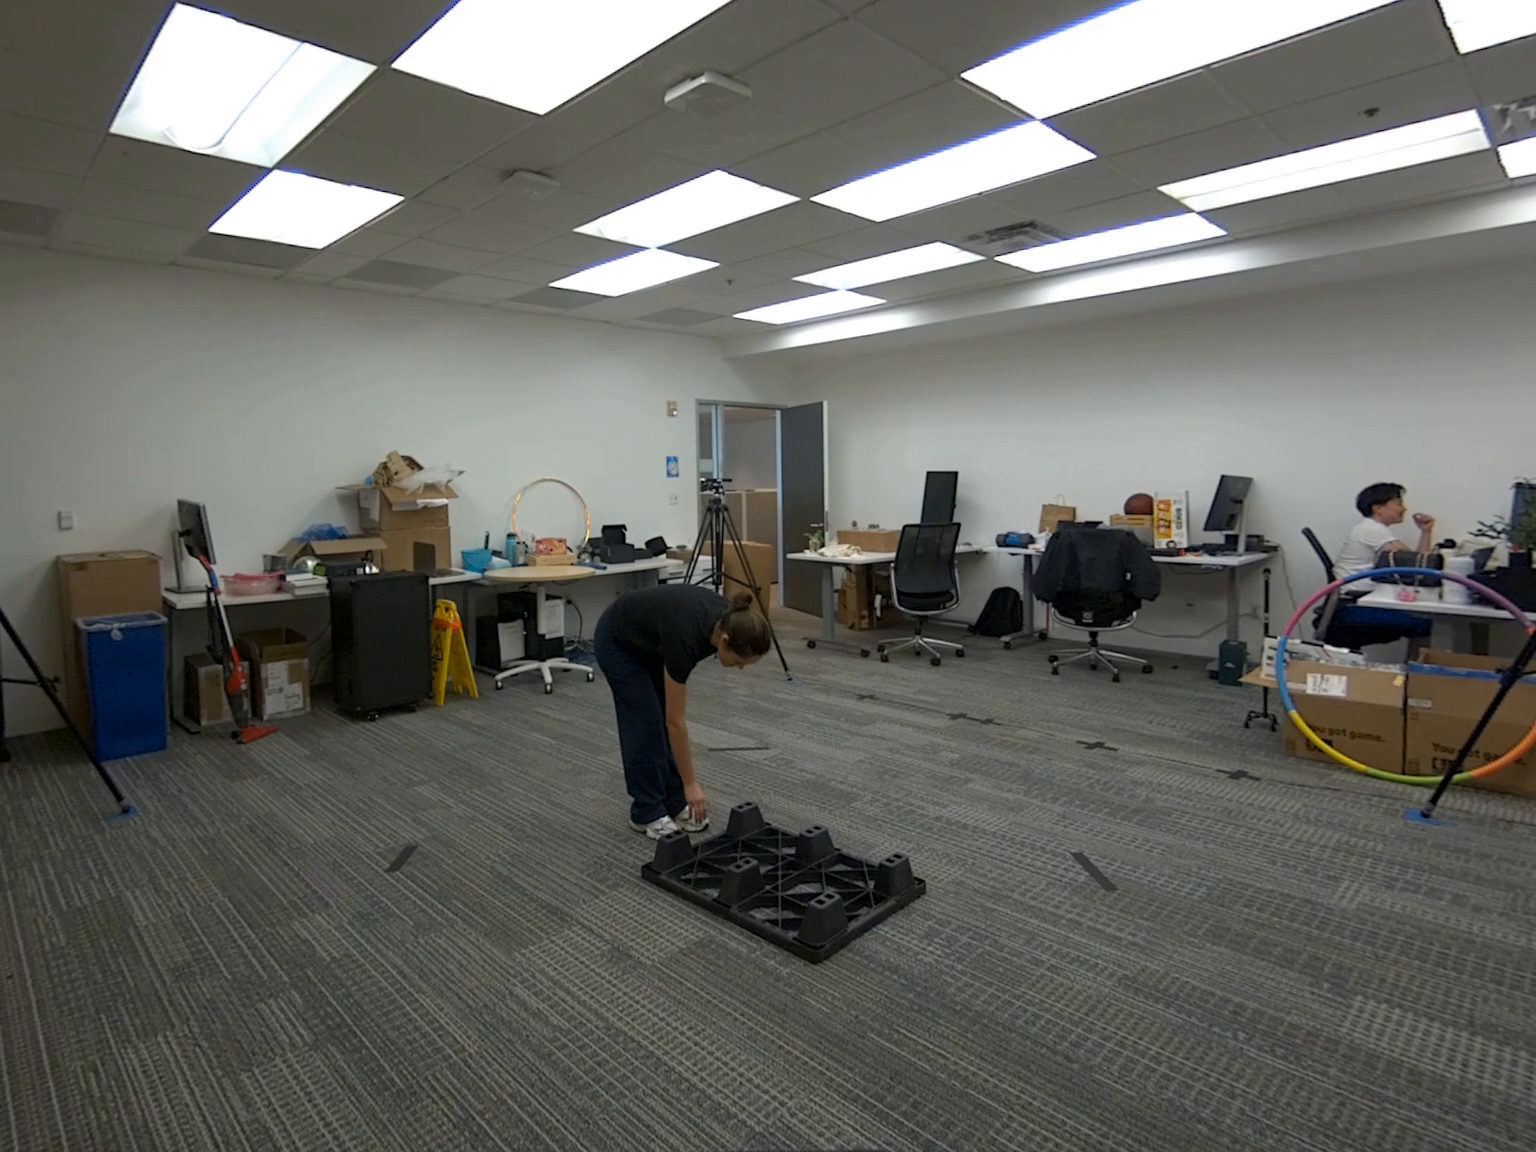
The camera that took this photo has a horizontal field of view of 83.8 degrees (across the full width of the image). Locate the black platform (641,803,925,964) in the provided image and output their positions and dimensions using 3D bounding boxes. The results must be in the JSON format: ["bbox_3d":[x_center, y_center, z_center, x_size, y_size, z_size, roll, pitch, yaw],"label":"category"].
[{"bbox_3d":[0.046,0.994,2.949,0.831,0.142,0.589,5,9,43],"label":"black platform"}]
